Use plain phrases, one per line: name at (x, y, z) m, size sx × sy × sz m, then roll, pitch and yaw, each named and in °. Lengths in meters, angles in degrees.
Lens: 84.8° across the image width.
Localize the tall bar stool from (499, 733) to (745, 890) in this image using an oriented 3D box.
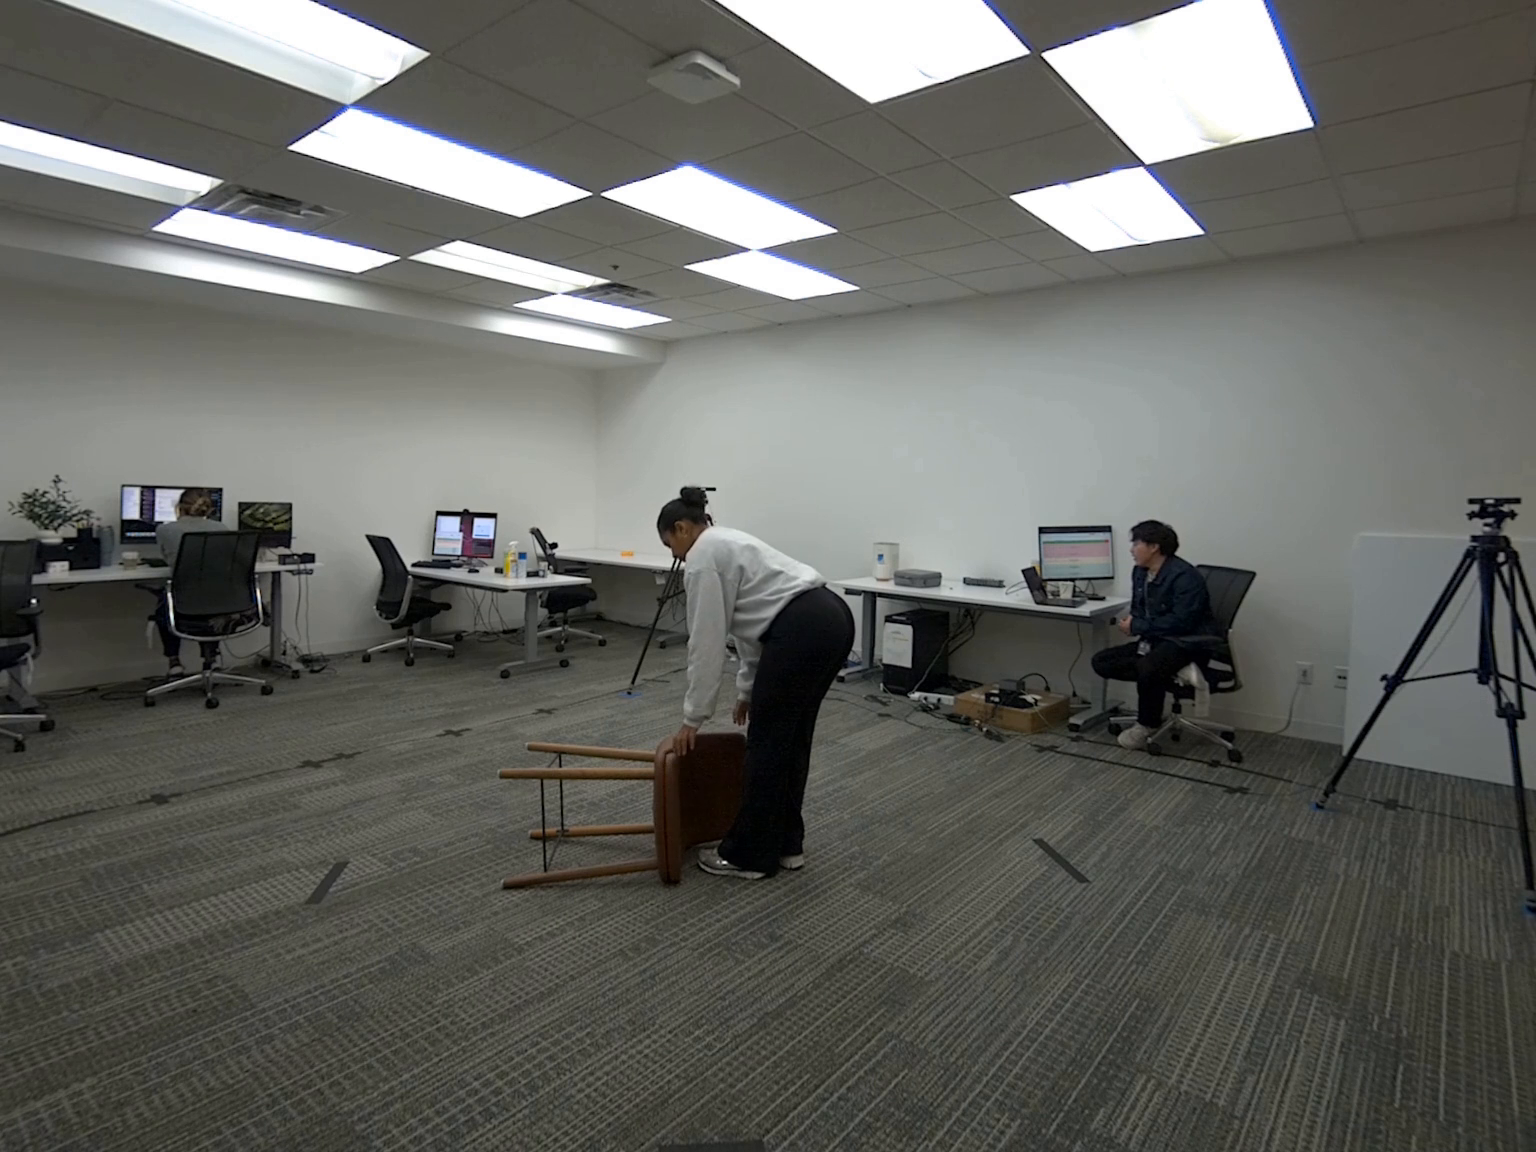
tall bar stool at (-0.510, 0.847, 3.139) m, size 0.887 × 0.456 × 0.469 m, roll -2°, pitch 2°, yaw -3°
